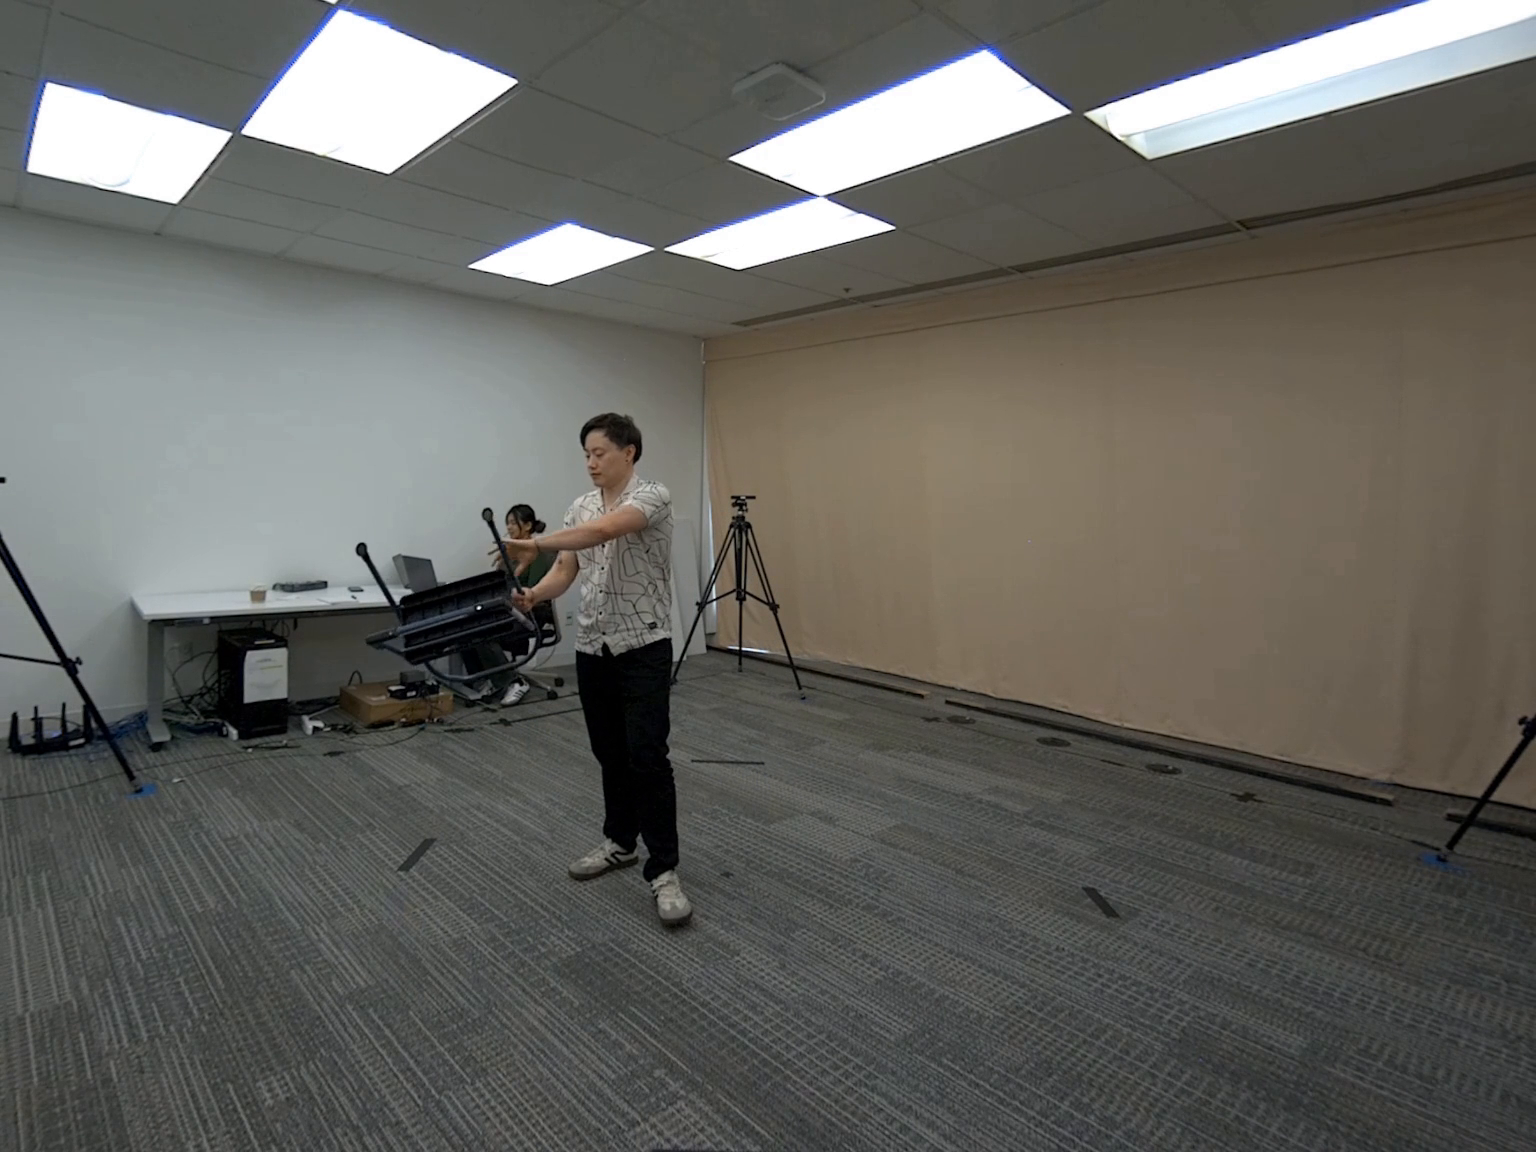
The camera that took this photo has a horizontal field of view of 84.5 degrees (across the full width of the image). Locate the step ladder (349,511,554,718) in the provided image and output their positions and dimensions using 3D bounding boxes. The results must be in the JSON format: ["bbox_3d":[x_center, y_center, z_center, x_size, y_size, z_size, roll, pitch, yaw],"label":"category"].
[{"bbox_3d":[-1.016,0.143,2.769,0.430,0.358,0.593,-14,-29,-4],"label":"step ladder"}]
